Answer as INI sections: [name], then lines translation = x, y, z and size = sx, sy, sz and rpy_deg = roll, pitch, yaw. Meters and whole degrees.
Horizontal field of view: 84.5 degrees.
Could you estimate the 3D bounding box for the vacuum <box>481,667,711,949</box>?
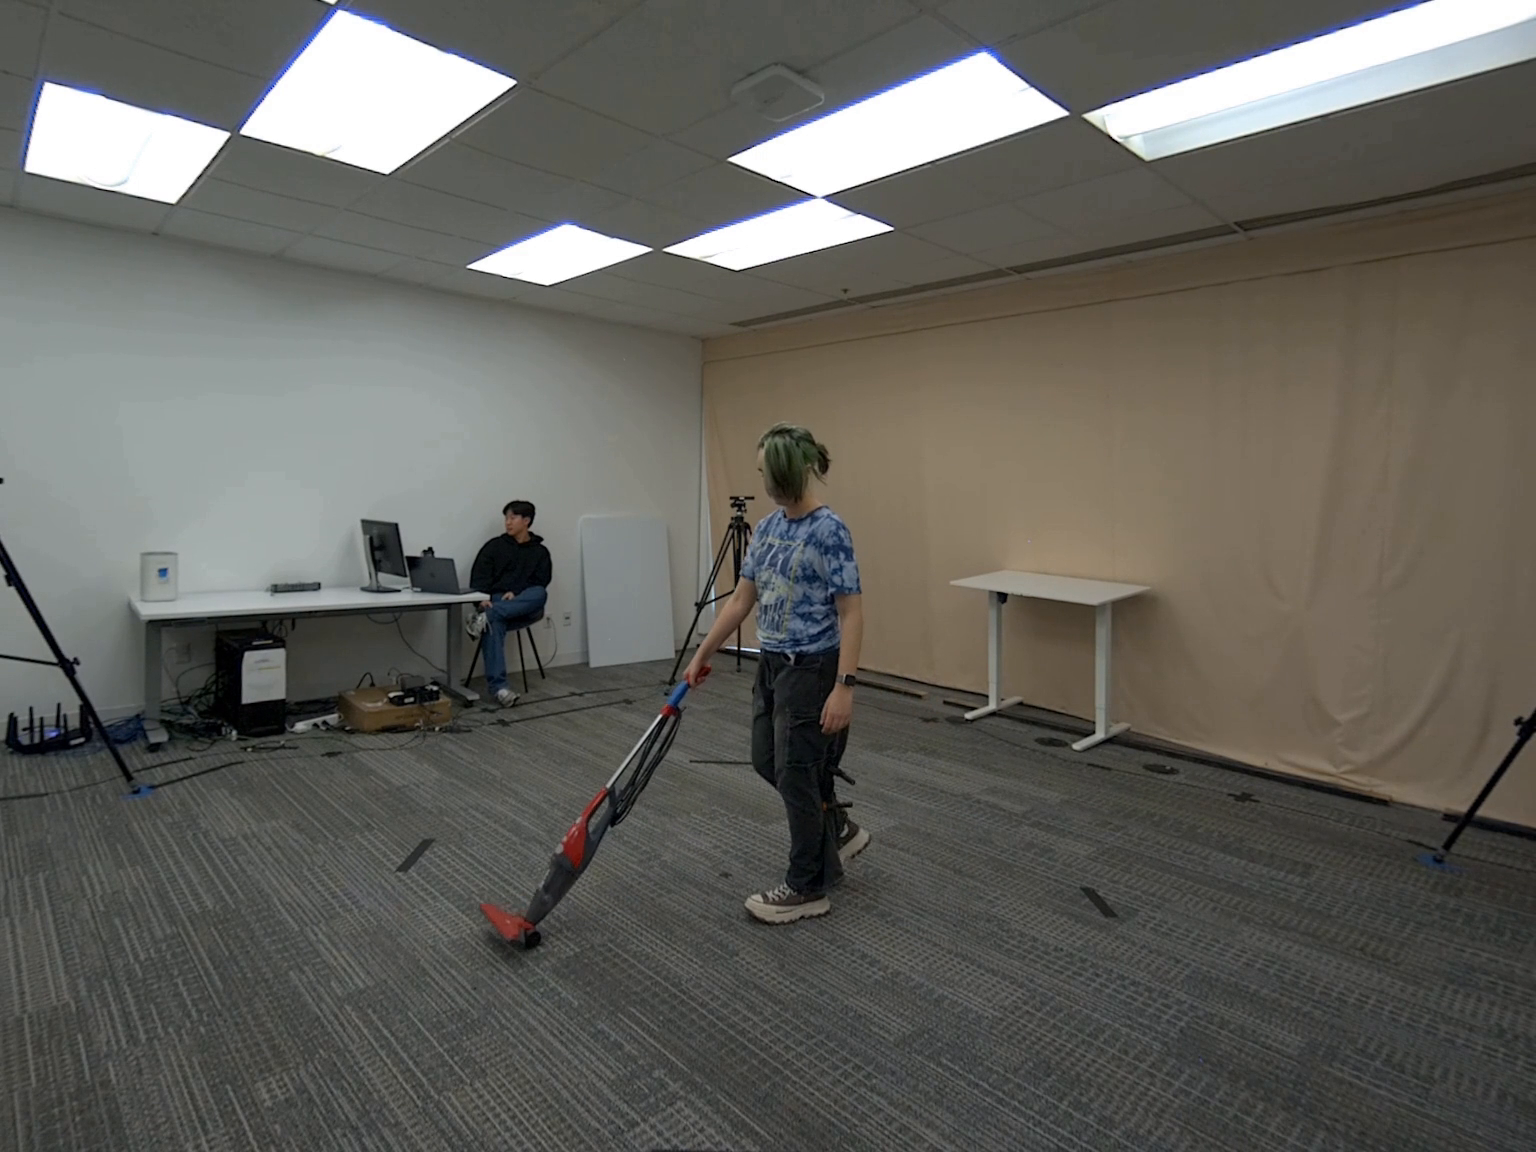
[vacuum]
translation = -0.508, 0.729, 2.786
size = 0.259, 1.051, 0.140
rpy_deg = 11, -35, 49
